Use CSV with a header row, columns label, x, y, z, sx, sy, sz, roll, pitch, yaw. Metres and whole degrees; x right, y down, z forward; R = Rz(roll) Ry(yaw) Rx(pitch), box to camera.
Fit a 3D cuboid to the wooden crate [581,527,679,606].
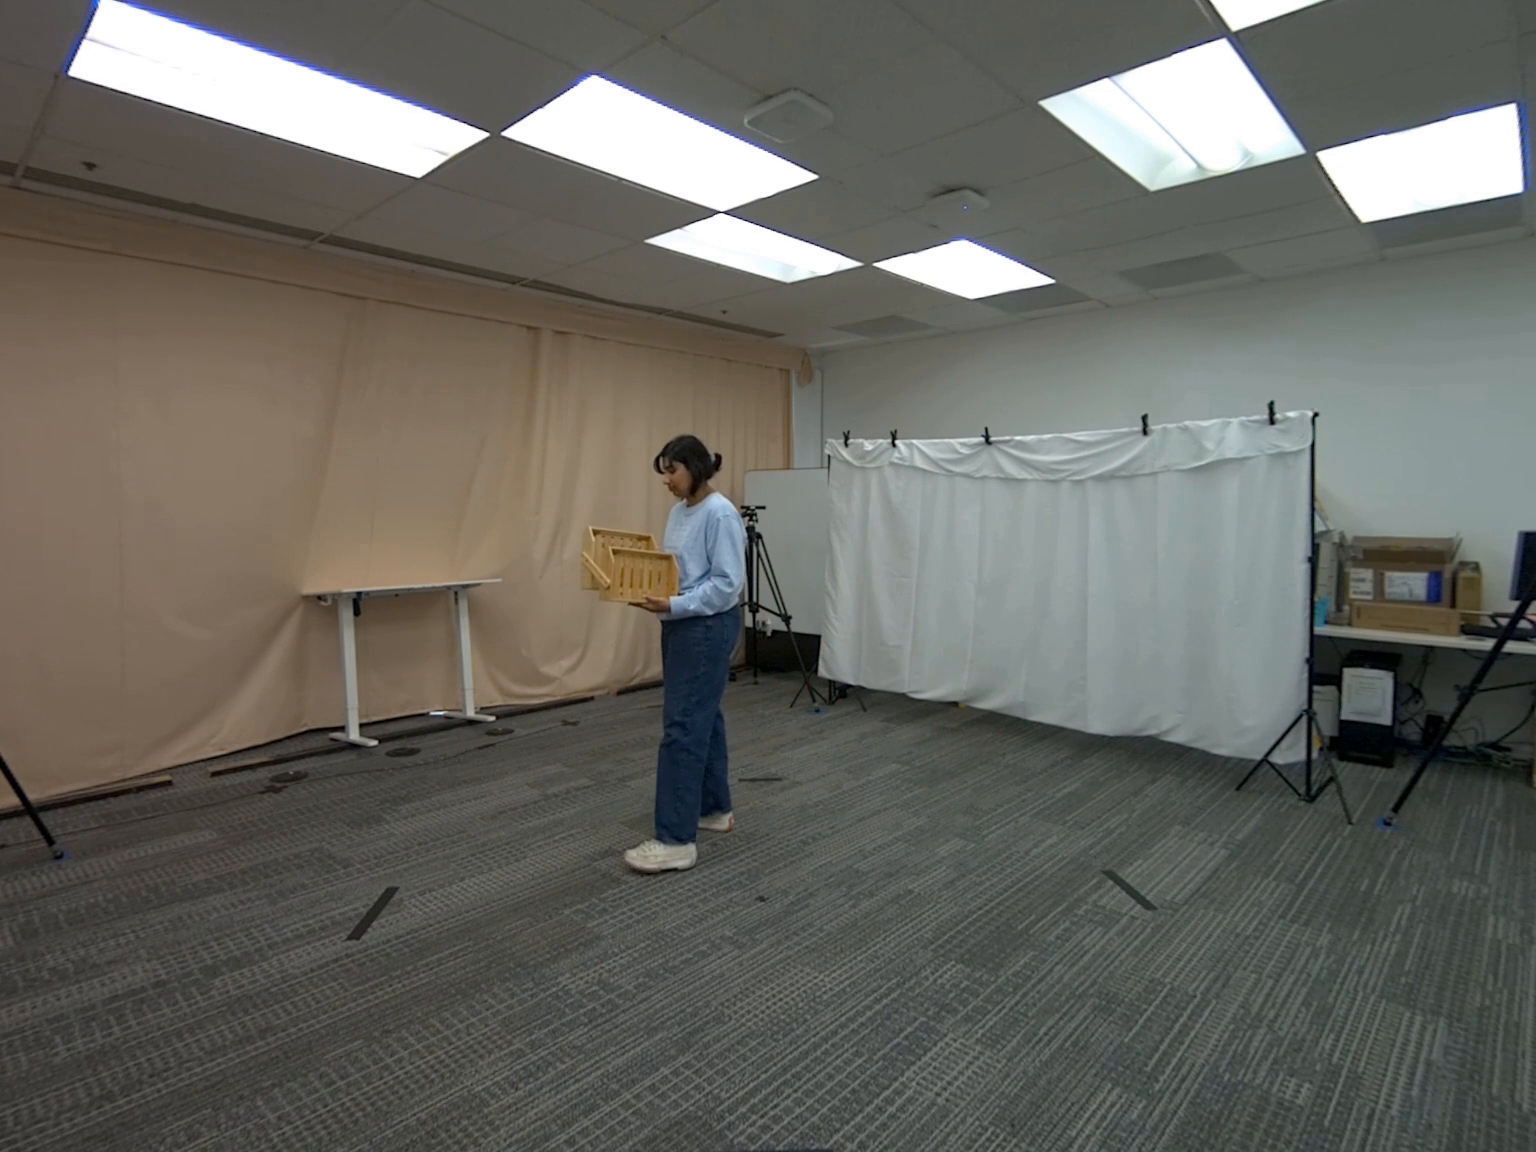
label,x,y,z,sx,sy,sz,roll,pitch,yaw
wooden crate,-0.551,-0.040,3.370,0.314,0.303,0.281,7,-8,-36
